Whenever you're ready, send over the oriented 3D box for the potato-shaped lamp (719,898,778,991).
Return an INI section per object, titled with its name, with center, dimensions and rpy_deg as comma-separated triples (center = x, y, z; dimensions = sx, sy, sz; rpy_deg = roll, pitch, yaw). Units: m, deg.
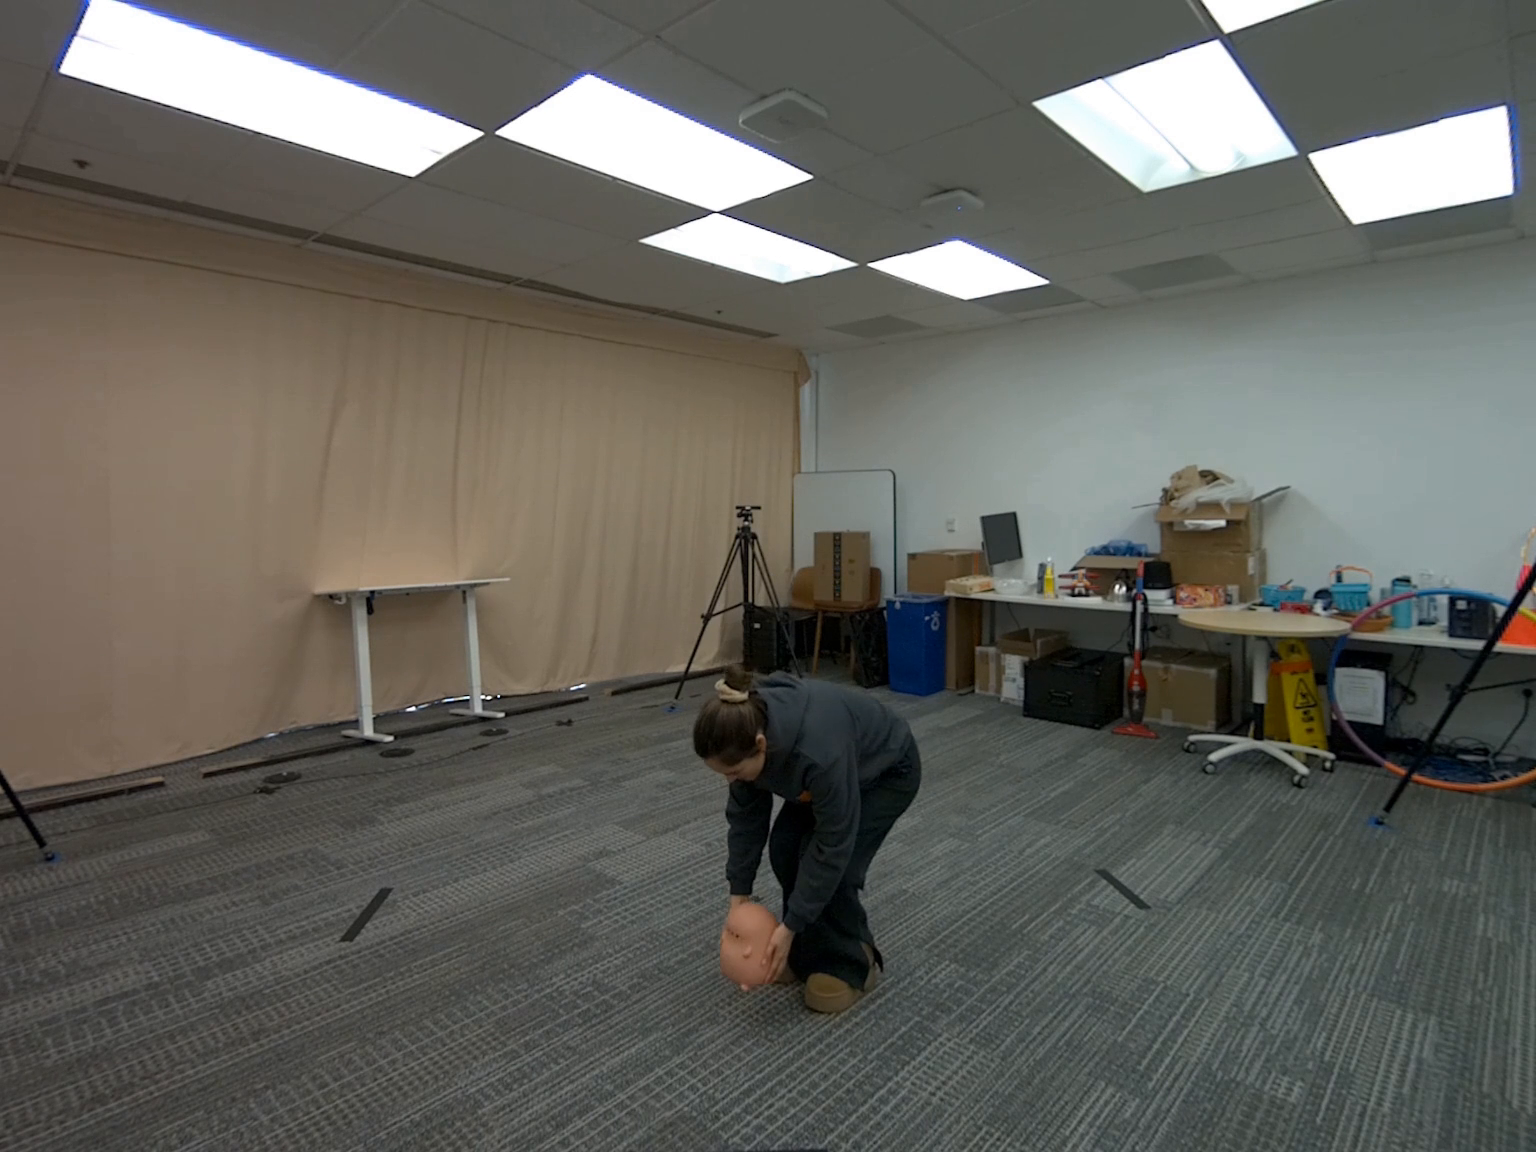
[potato-shaped lamp]
center = -0.026, 0.997, 2.291
dimensions = 0.175, 0.198, 0.160
rpy_deg = 15, -20, 19
